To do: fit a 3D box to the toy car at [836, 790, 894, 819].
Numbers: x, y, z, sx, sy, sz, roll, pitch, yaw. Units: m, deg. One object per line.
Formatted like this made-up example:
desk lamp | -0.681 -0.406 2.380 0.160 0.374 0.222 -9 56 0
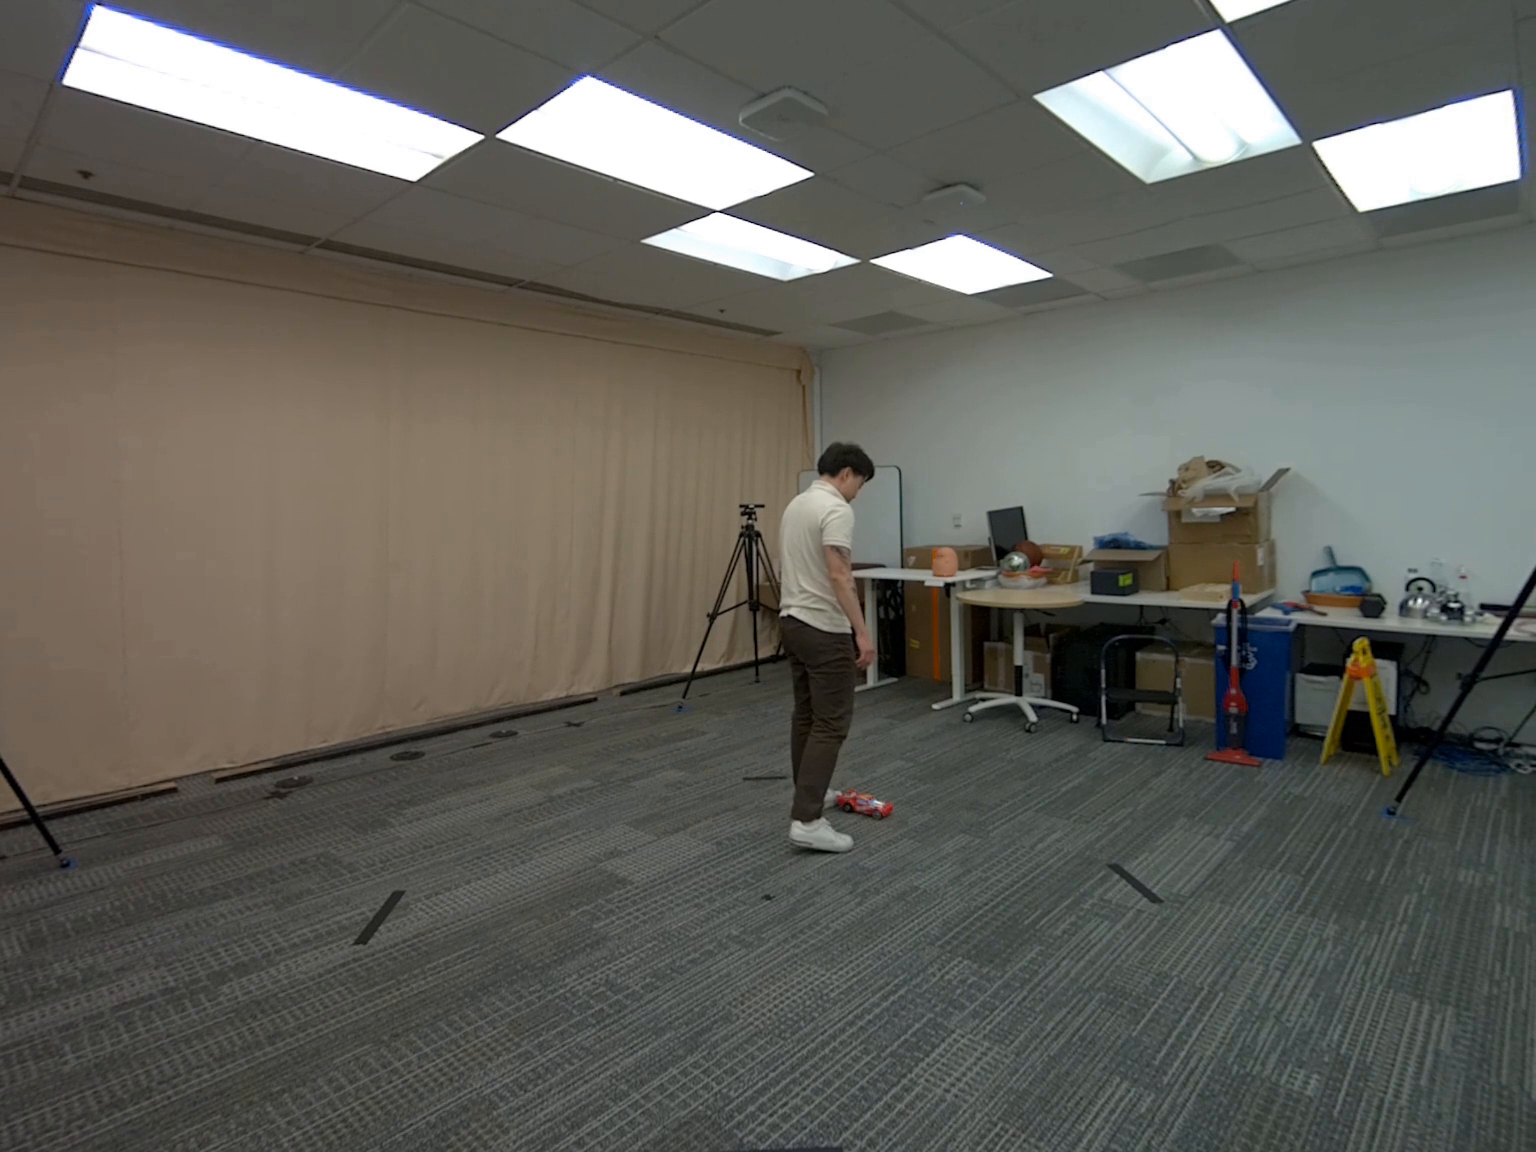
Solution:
toy car | 0.433 1.032 3.804 0.263 0.083 0.126 15 13 35
